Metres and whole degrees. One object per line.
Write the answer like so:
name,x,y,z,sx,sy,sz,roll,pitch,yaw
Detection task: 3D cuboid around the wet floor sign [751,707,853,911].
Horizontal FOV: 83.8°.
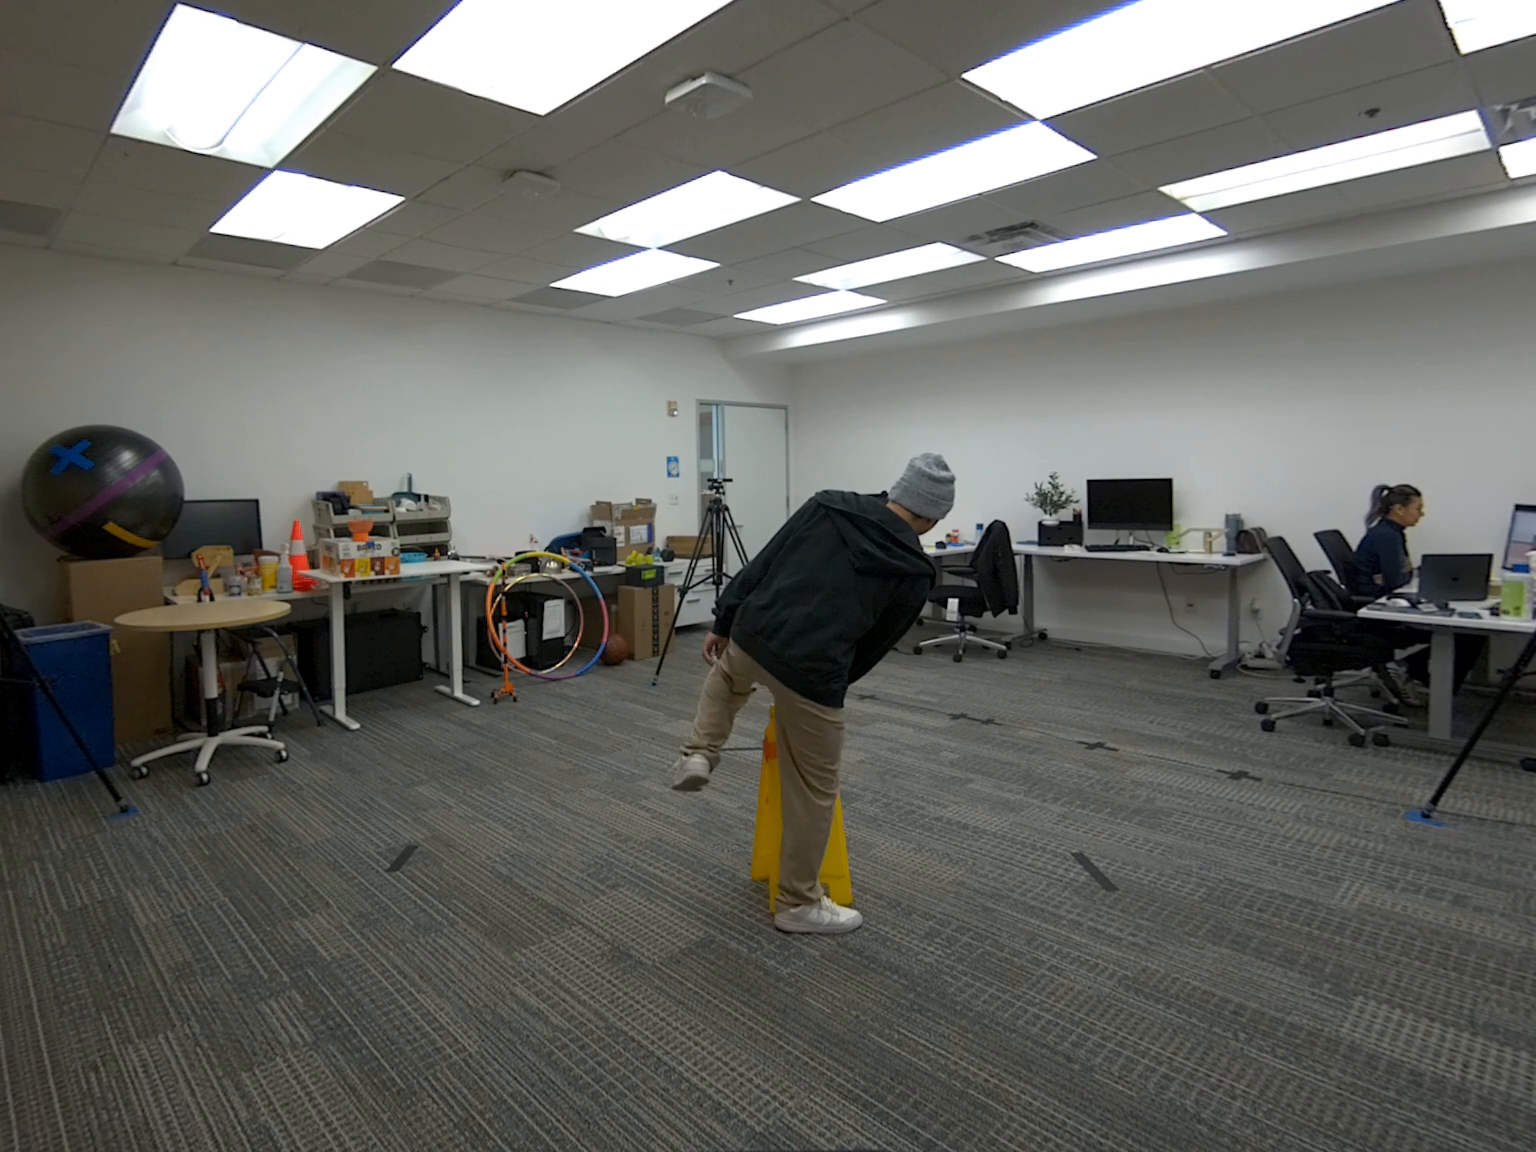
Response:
wet floor sign,0.116,0.744,2.872,0.278,0.644,0.295,-2,4,-16
